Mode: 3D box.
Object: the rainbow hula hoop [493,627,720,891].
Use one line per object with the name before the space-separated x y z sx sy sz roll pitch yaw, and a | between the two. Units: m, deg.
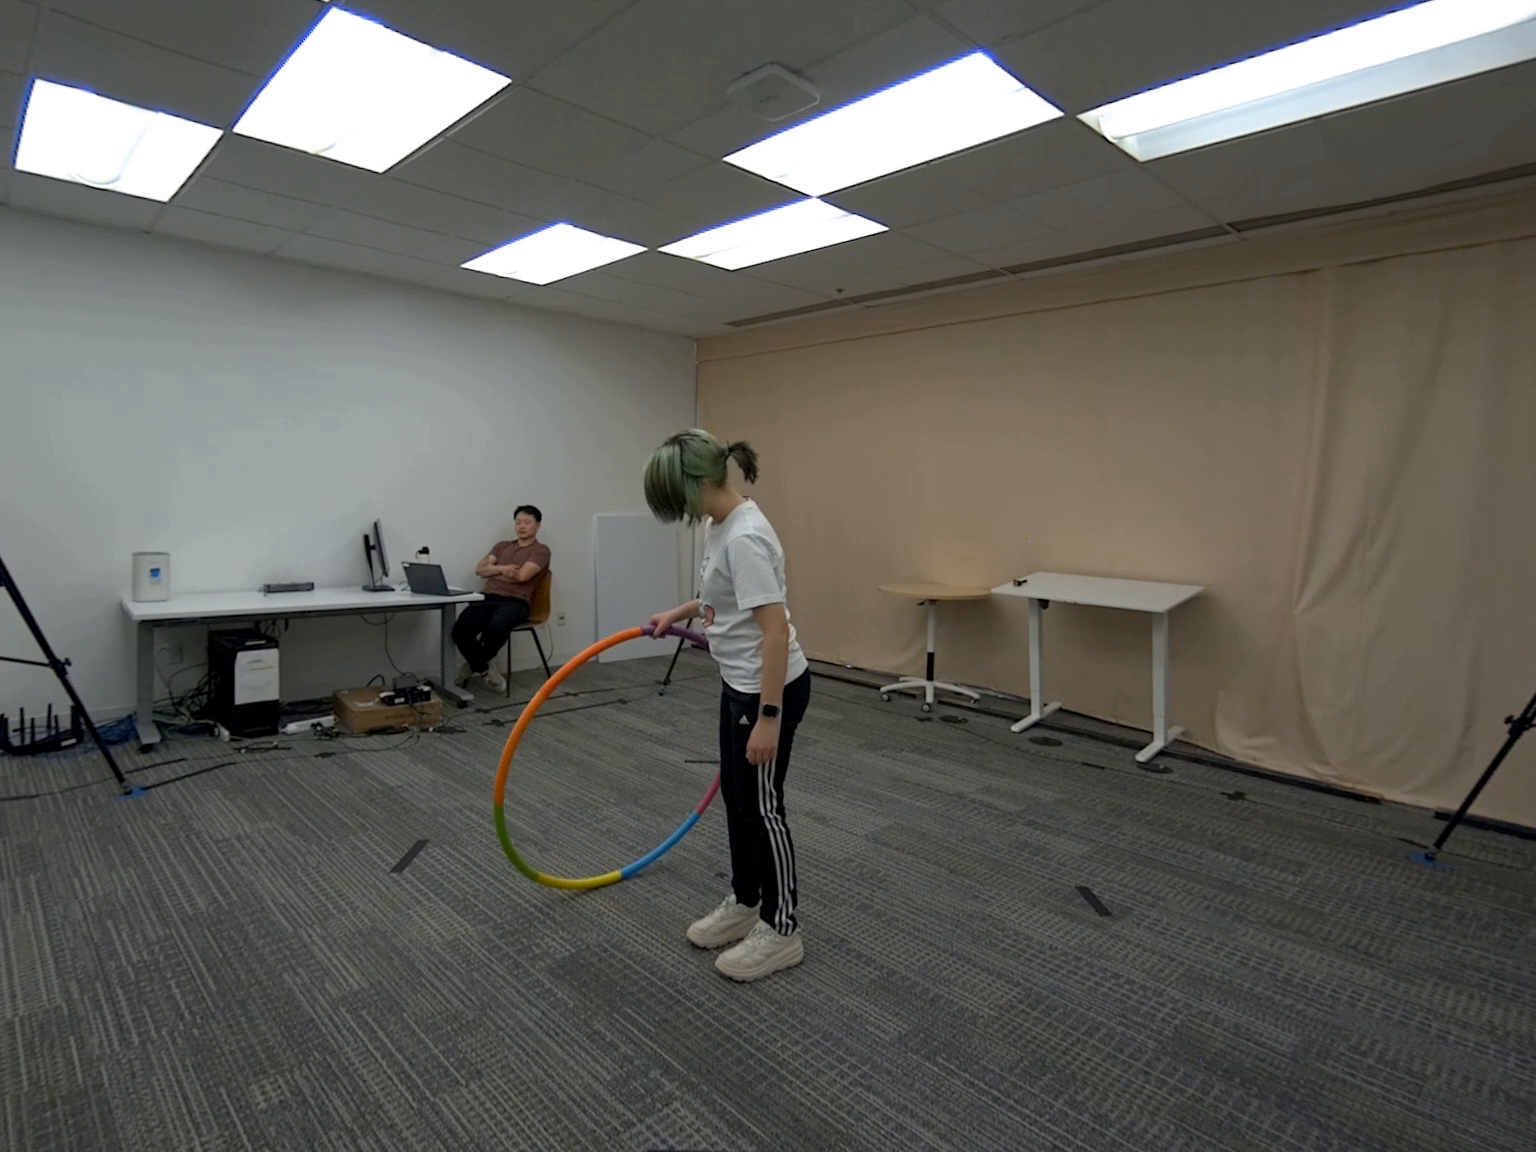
rainbow hula hoop | -0.483 0.637 2.889 0.956 0.970 0.037 -2 21 -42
